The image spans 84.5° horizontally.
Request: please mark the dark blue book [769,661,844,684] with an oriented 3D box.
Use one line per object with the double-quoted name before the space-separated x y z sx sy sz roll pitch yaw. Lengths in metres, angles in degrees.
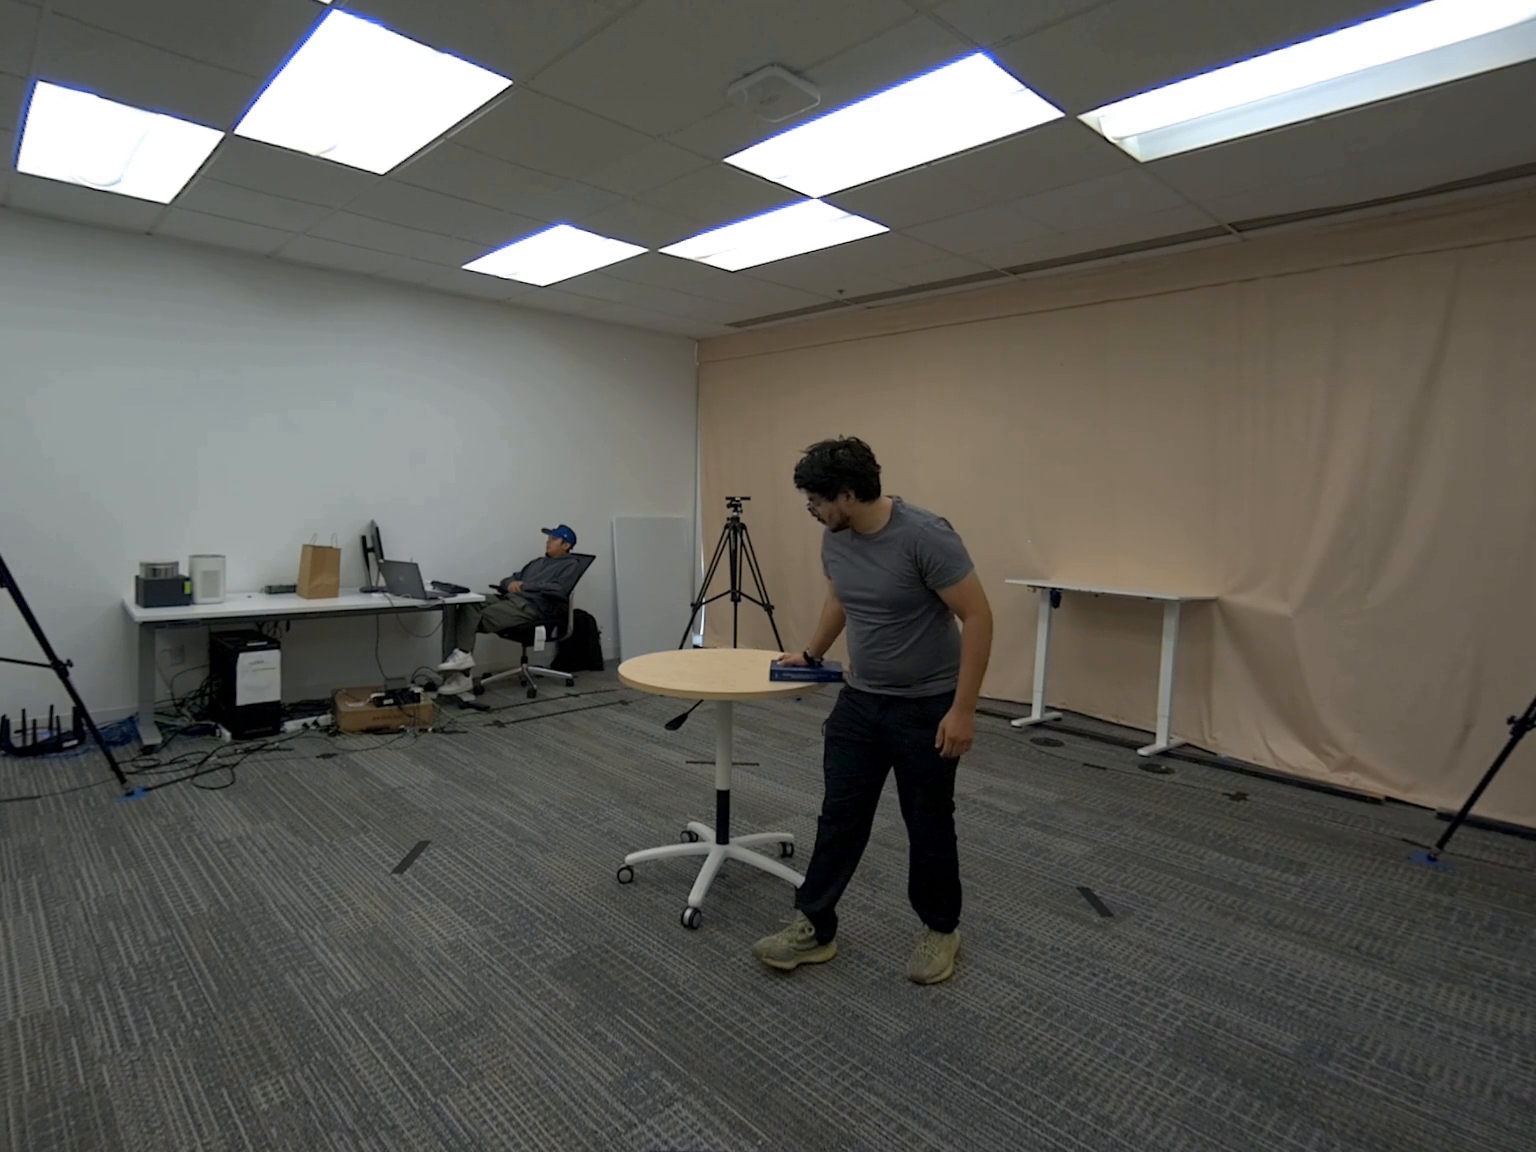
"dark blue book" 0.123 0.328 2.877 0.246 0.045 0.163 1 5 3
